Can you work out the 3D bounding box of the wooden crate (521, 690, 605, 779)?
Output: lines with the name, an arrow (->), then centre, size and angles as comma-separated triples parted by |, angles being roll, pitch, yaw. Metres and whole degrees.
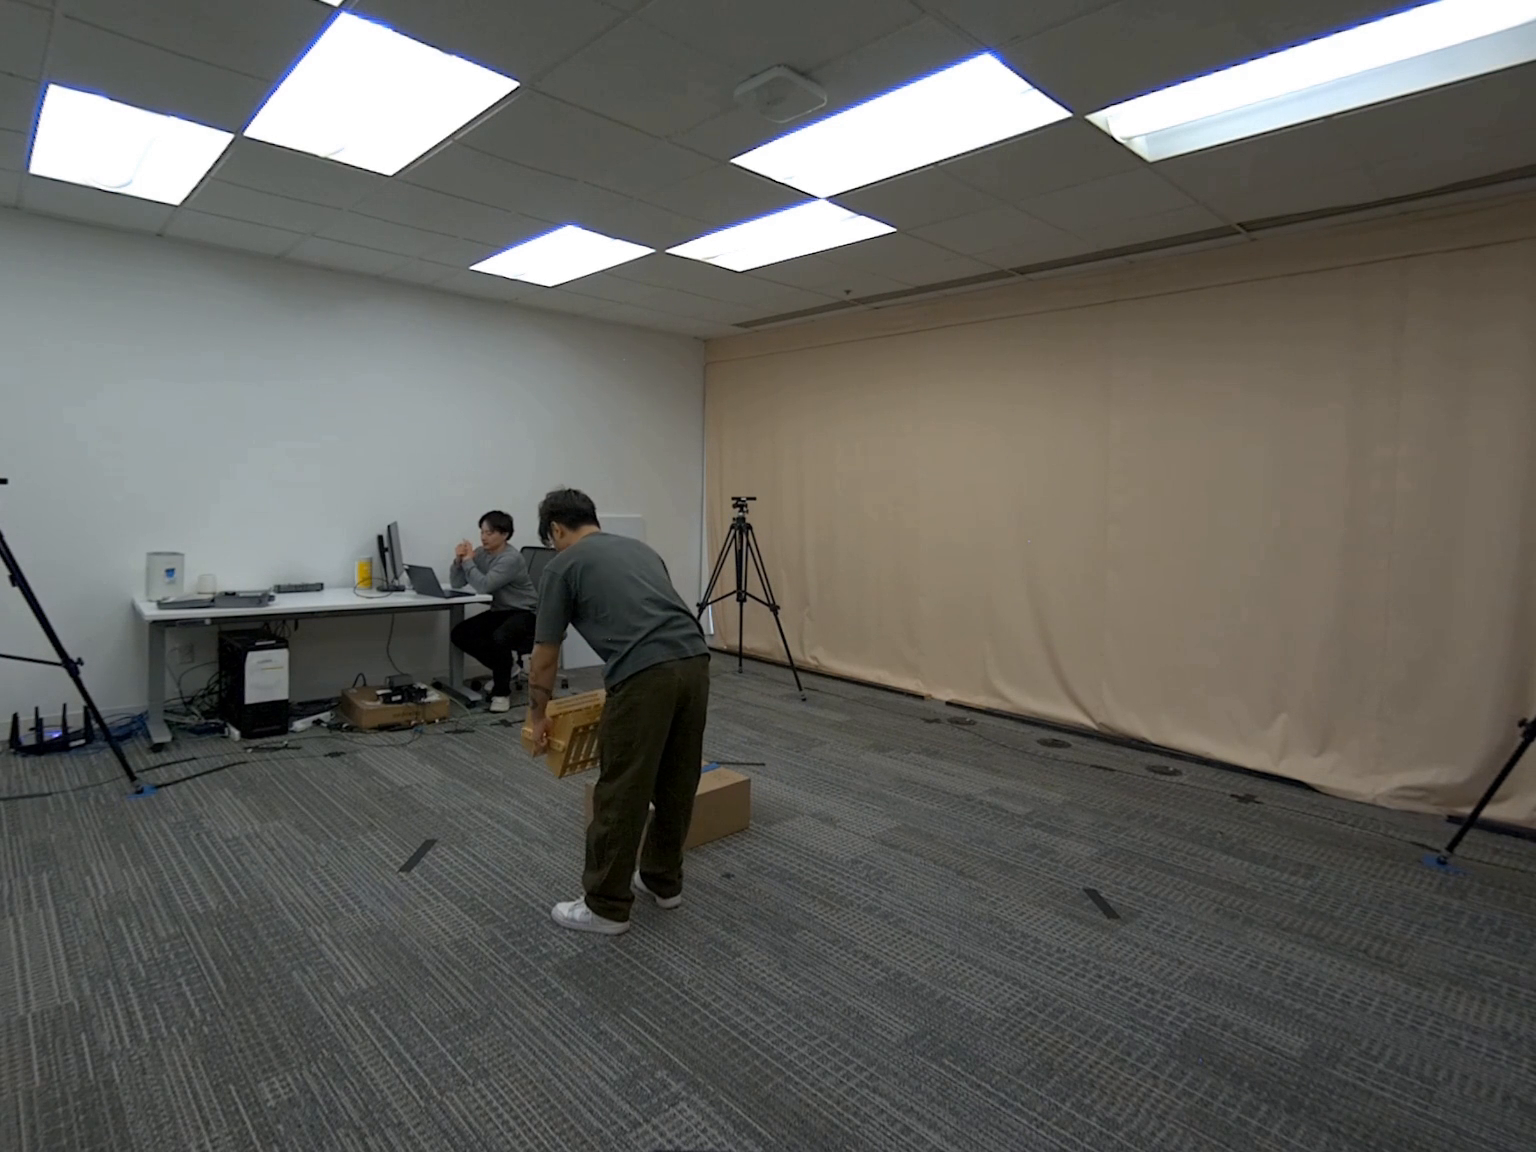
wooden crate -> -0.659, 0.518, 2.979 | 0.317, 0.299, 0.282 | -6, 36, -44
